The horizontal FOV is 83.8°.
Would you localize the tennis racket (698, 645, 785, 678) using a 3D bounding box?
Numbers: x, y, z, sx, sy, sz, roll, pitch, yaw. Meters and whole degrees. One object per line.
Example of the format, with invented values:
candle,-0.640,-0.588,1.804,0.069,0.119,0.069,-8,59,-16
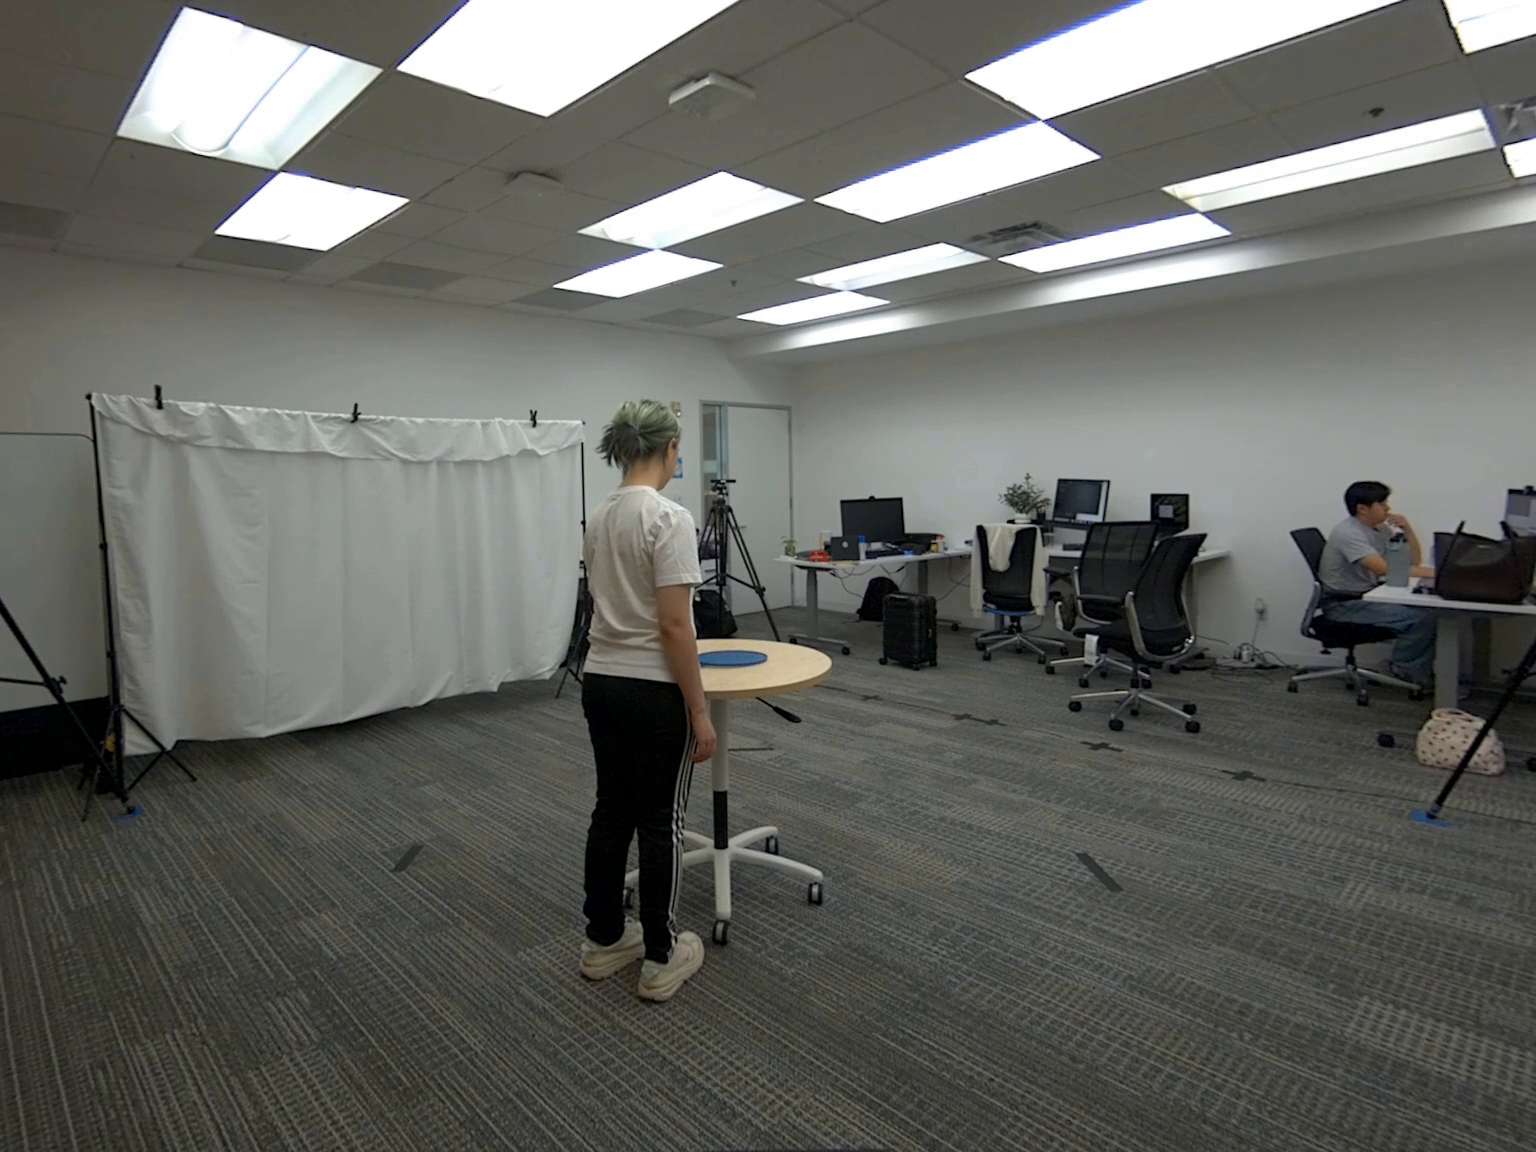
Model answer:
tennis racket,-0.184,0.285,2.846,0.422,0.031,0.220,-4,8,-36
